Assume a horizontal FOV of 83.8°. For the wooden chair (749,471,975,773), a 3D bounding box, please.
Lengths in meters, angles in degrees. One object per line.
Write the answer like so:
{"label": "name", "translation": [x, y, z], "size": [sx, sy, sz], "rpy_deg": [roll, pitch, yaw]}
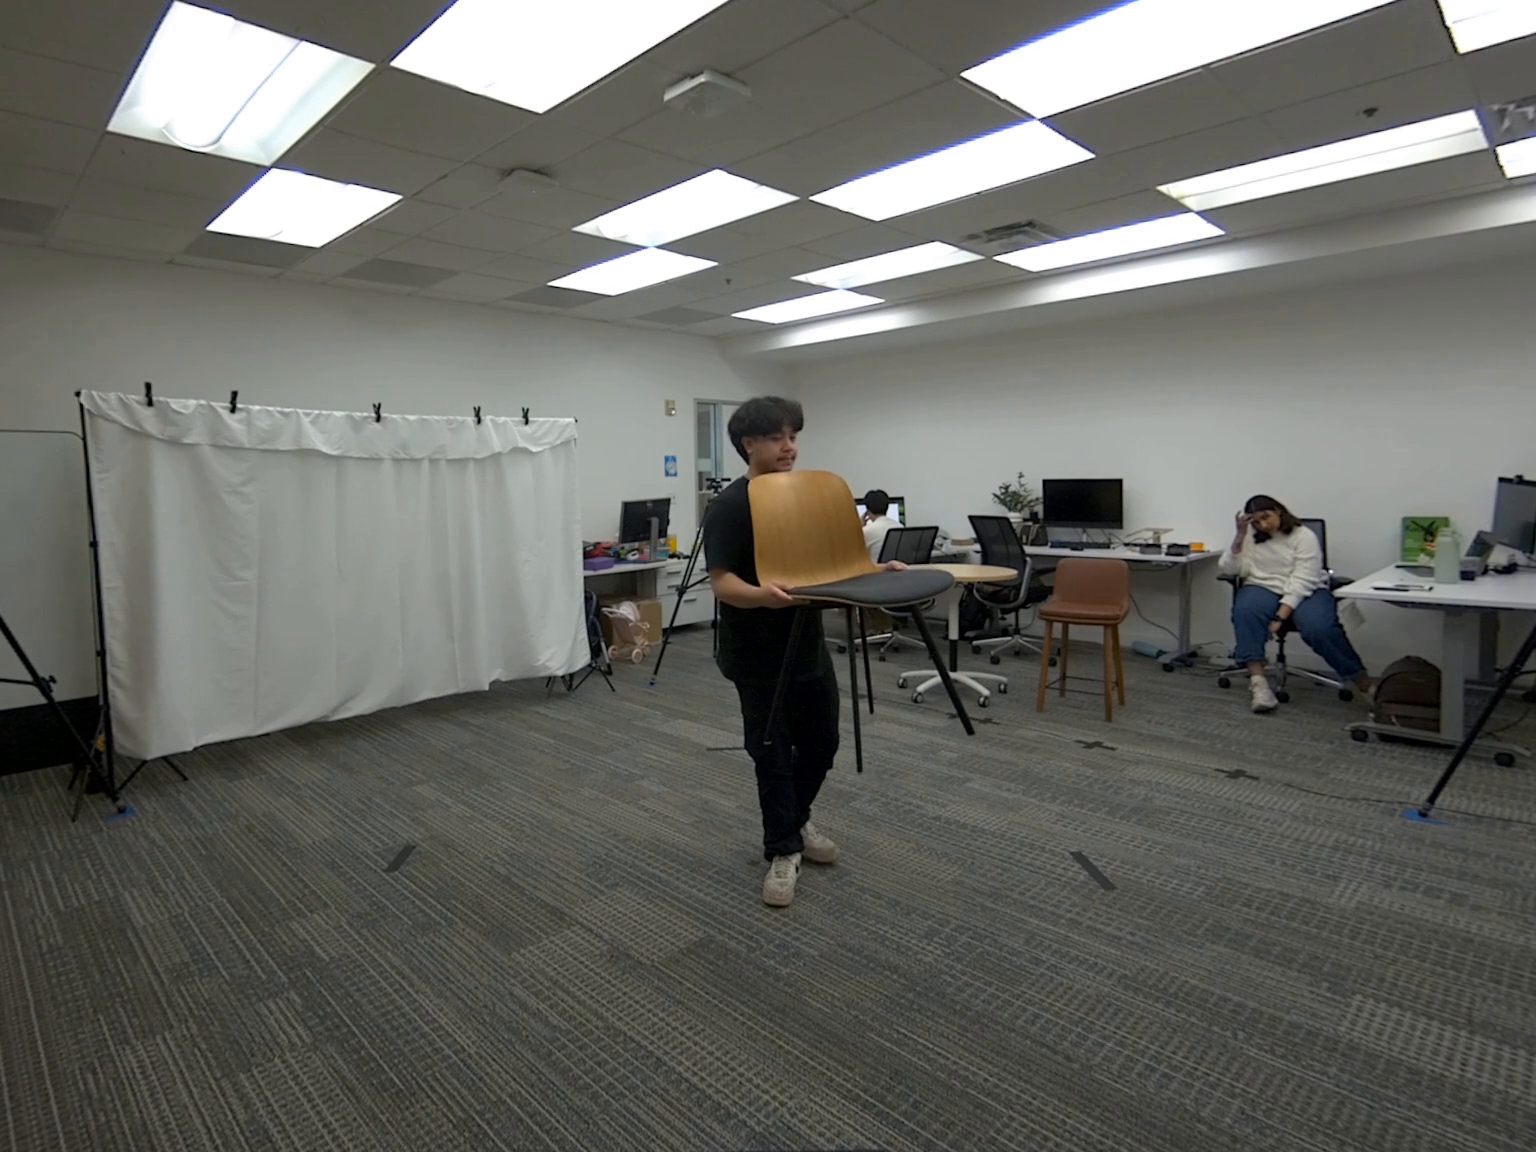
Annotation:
{"label": "wooden chair", "translation": [0.250, 0.086, 2.589], "size": [0.467, 0.879, 0.534], "rpy_deg": [-6, -1, -32]}
